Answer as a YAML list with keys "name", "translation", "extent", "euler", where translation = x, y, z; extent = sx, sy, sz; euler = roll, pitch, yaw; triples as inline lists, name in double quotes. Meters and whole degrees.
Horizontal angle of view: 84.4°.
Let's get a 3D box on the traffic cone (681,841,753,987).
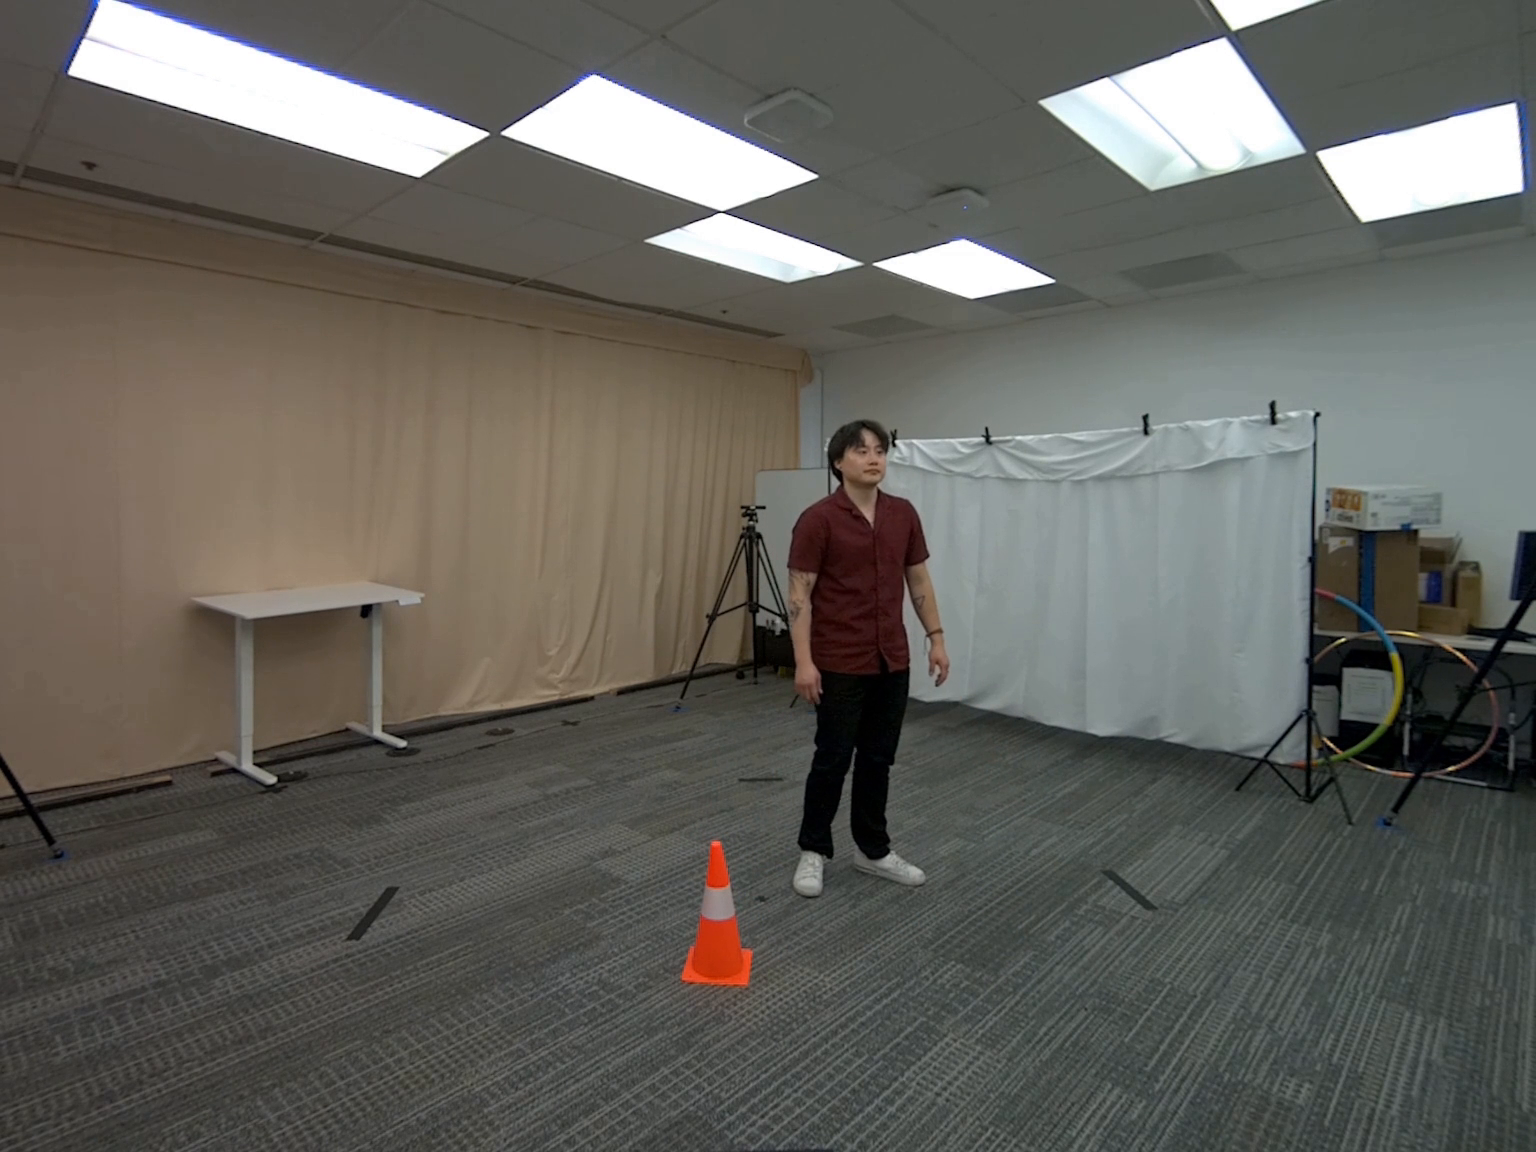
- name: "traffic cone"
  translation: [-0.148, 0.999, 2.530]
  extent: [0.205, 0.383, 0.204]
  euler: [0, 4, 6]
